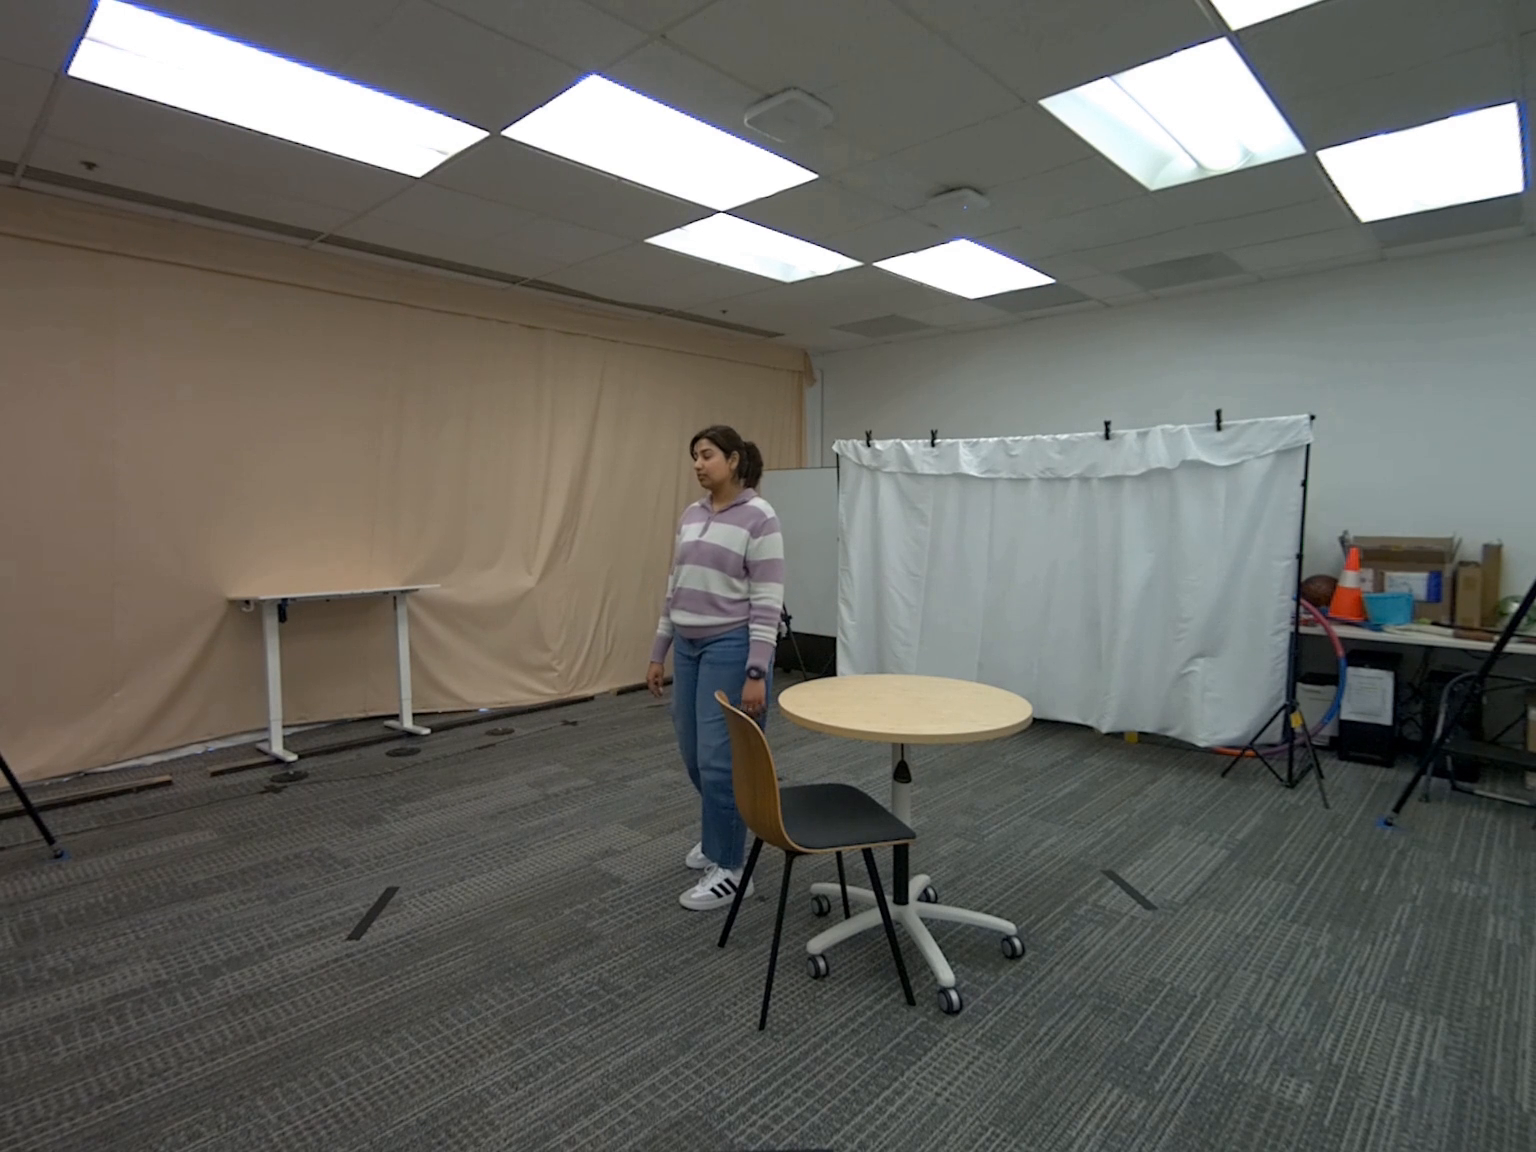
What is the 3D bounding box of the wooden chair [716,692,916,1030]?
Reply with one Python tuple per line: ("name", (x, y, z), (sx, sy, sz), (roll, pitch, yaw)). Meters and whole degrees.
("wooden chair", (0.142, 0.757, 2.480), (0.515, 0.875, 0.487), (-5, 3, -16))
